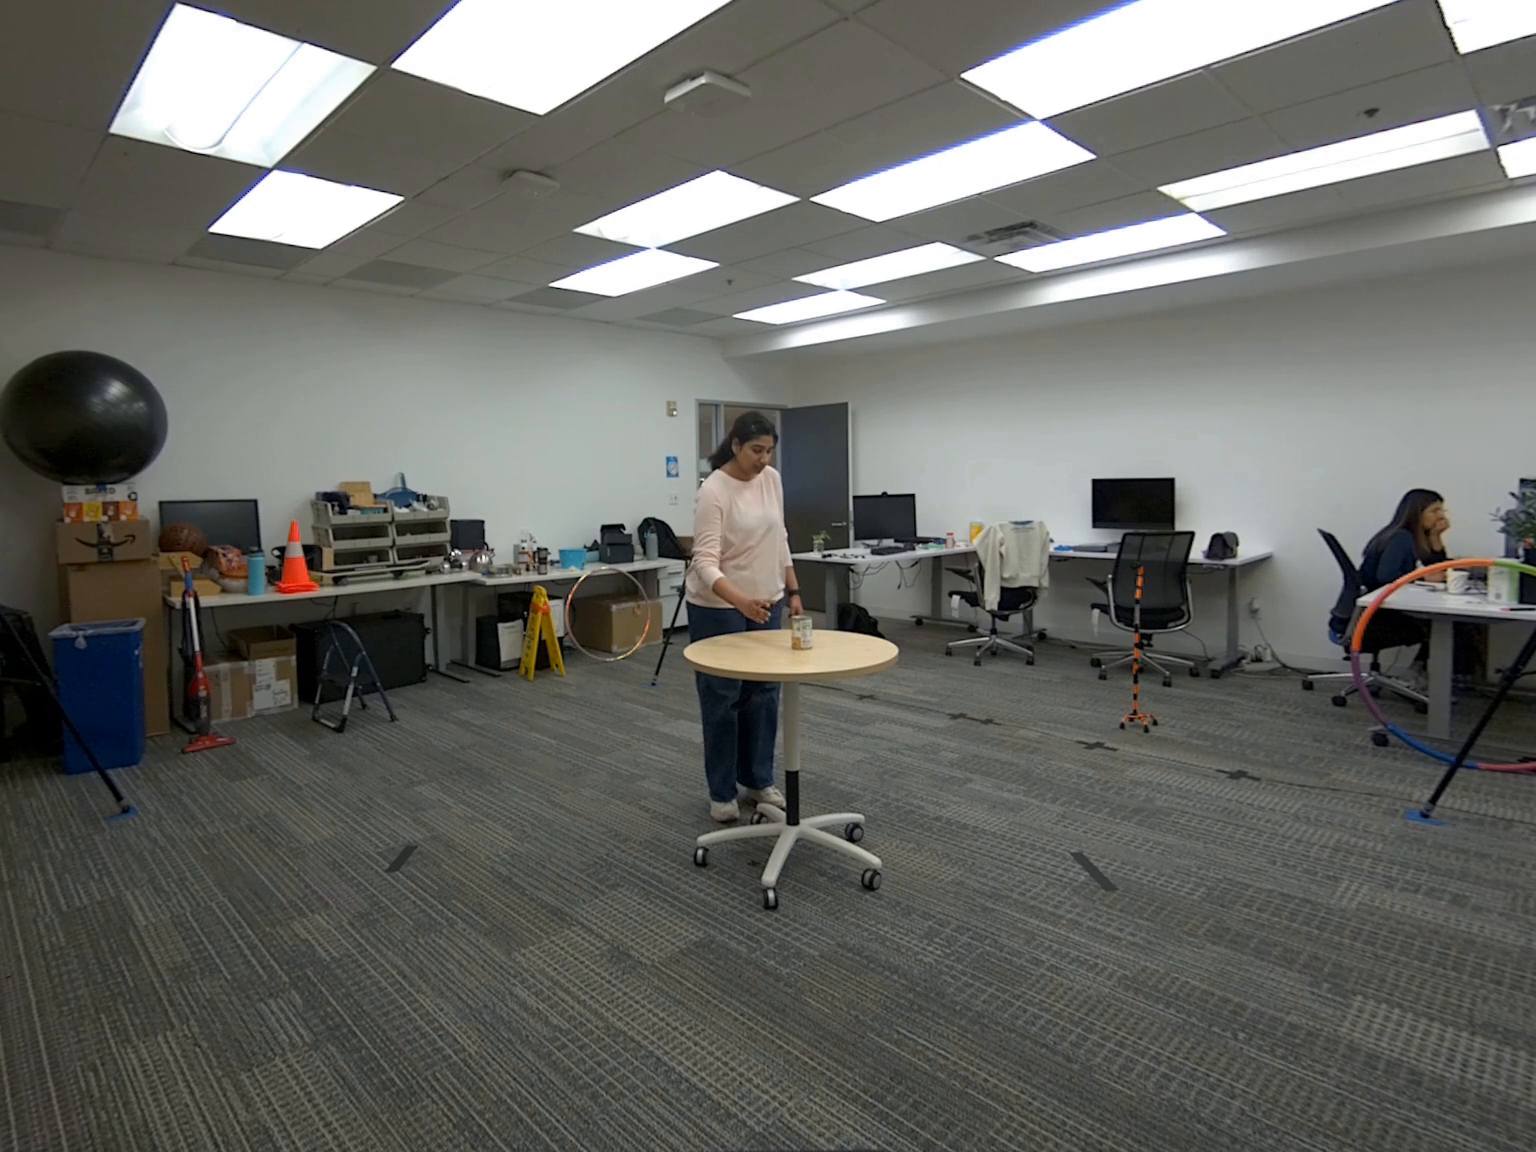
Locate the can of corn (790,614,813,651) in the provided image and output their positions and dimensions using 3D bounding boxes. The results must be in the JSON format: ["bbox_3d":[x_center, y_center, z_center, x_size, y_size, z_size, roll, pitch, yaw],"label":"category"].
[{"bbox_3d":[0.117,0.205,3.077,0.074,0.110,0.074,-1,5,-2],"label":"can of corn"}]
